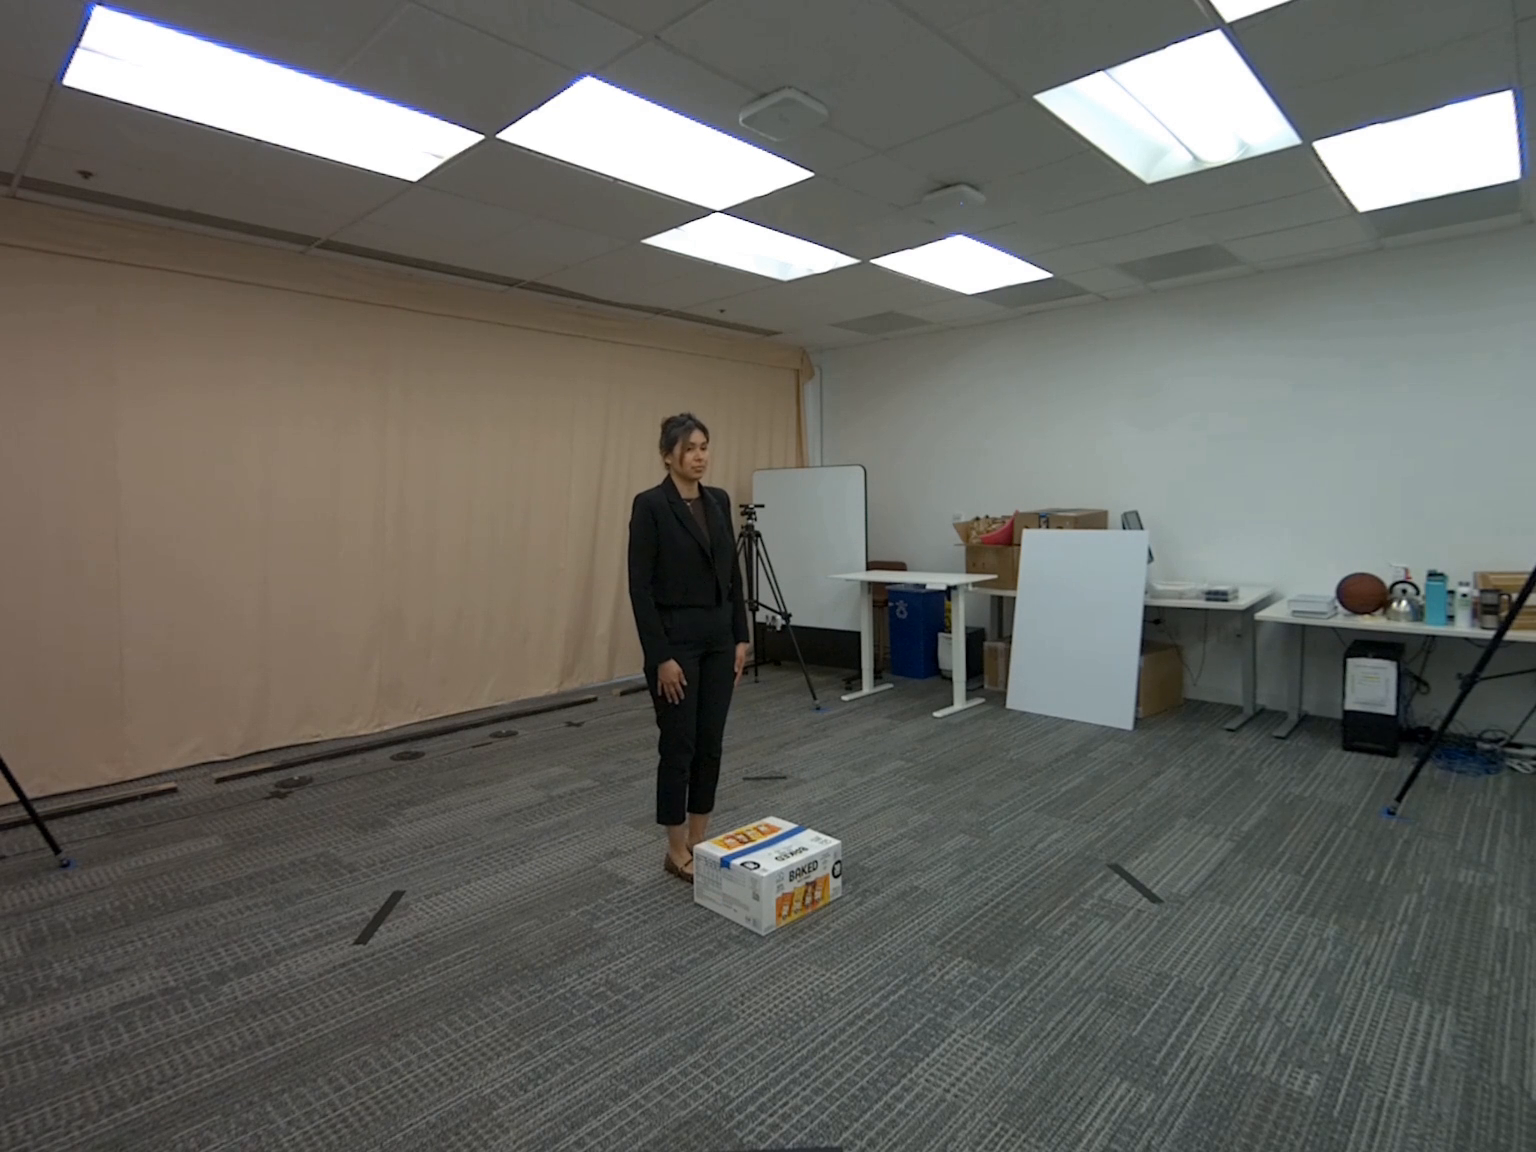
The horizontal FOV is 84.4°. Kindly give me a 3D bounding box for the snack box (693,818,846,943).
[{"bbox_3d":[0.006,1.041,2.955,0.351,0.205,0.393,3,6,45],"label":"snack box"}]
